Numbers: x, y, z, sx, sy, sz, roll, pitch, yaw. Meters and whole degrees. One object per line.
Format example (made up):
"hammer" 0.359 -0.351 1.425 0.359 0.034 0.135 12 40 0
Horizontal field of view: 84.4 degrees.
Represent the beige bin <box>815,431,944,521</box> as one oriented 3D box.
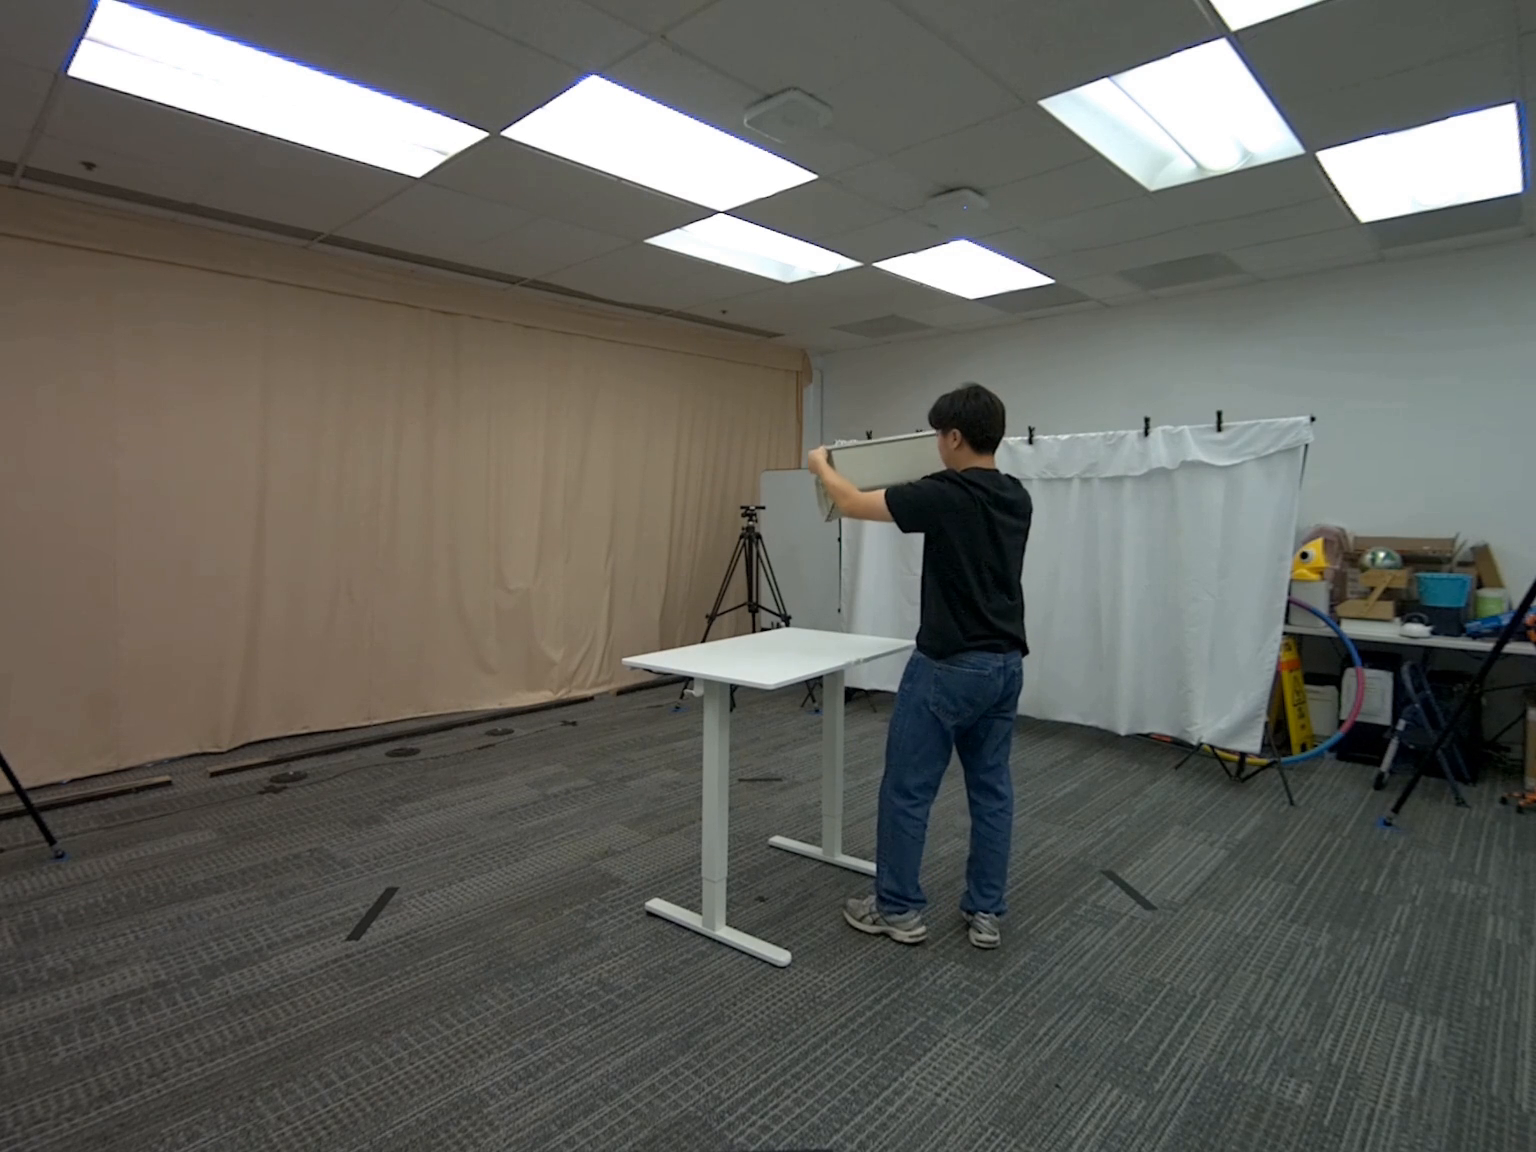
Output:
"beige bin" 0.413 -0.364 3.083 0.421 0.191 0.375 -6 -12 -3
